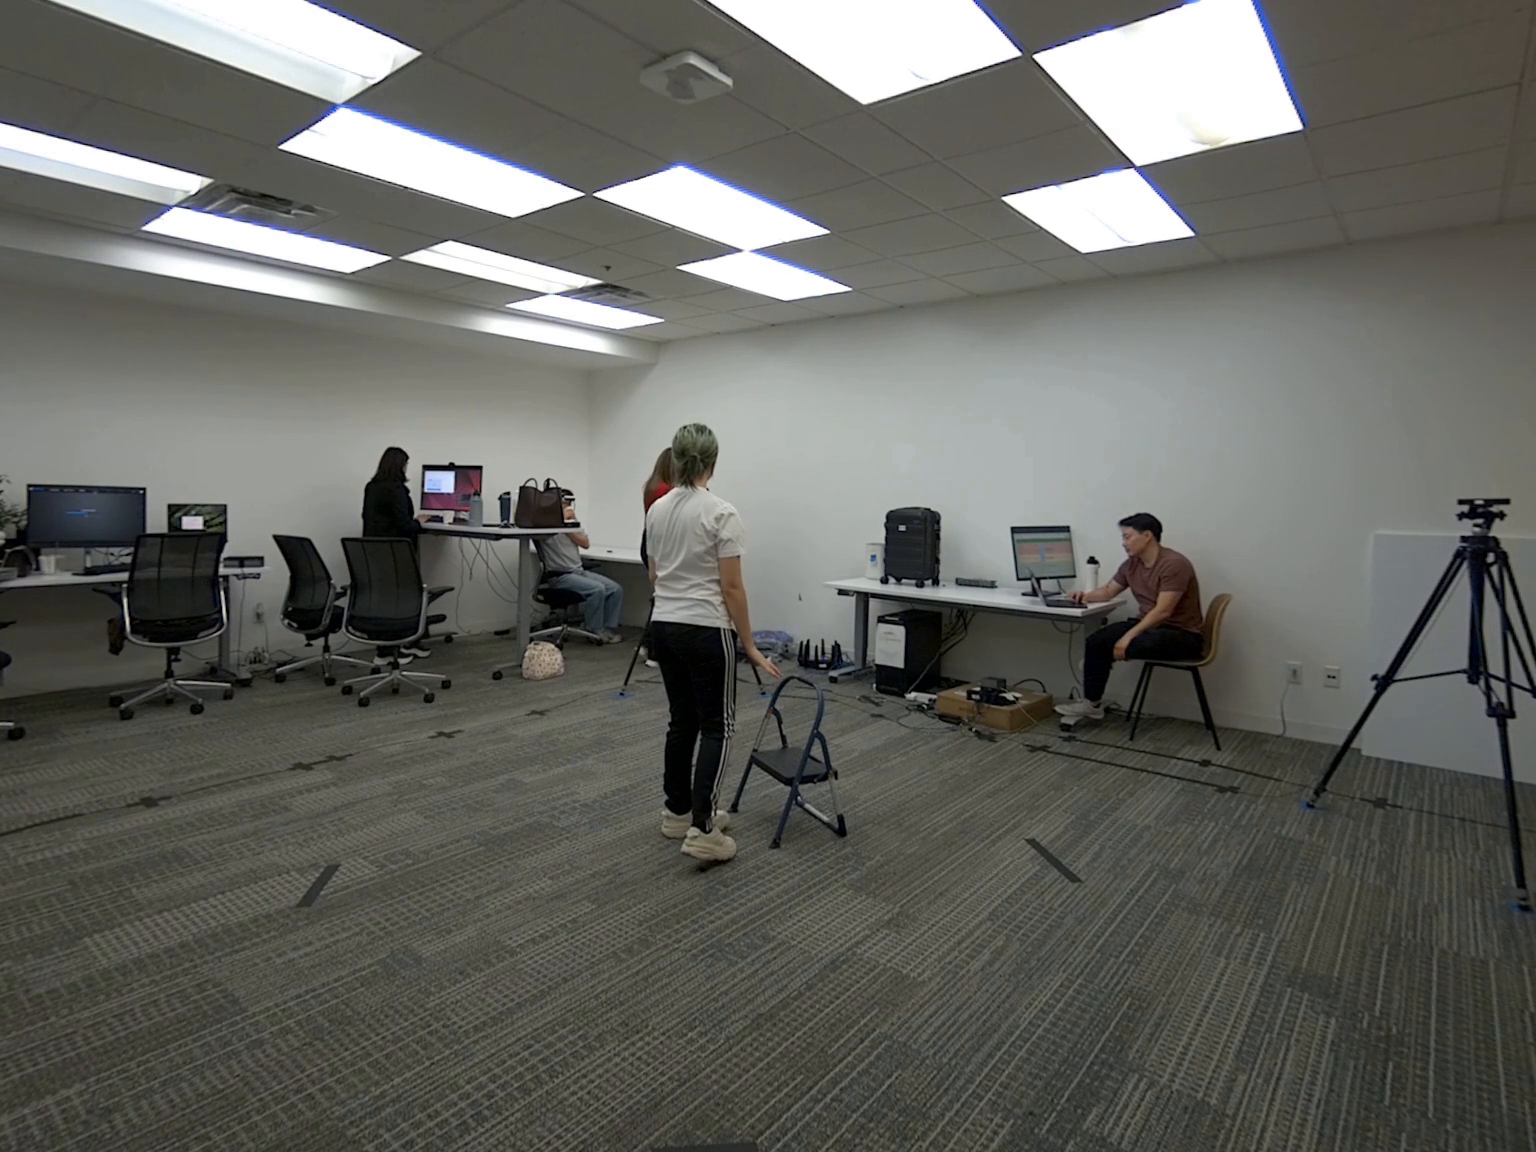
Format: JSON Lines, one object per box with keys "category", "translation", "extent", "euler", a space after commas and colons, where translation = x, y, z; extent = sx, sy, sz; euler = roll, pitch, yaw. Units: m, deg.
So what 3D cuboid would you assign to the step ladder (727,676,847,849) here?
{"category": "step ladder", "translation": [0.078, 0.731, 3.546], "extent": [0.341, 0.604, 0.442], "euler": [0, 3, -26]}
